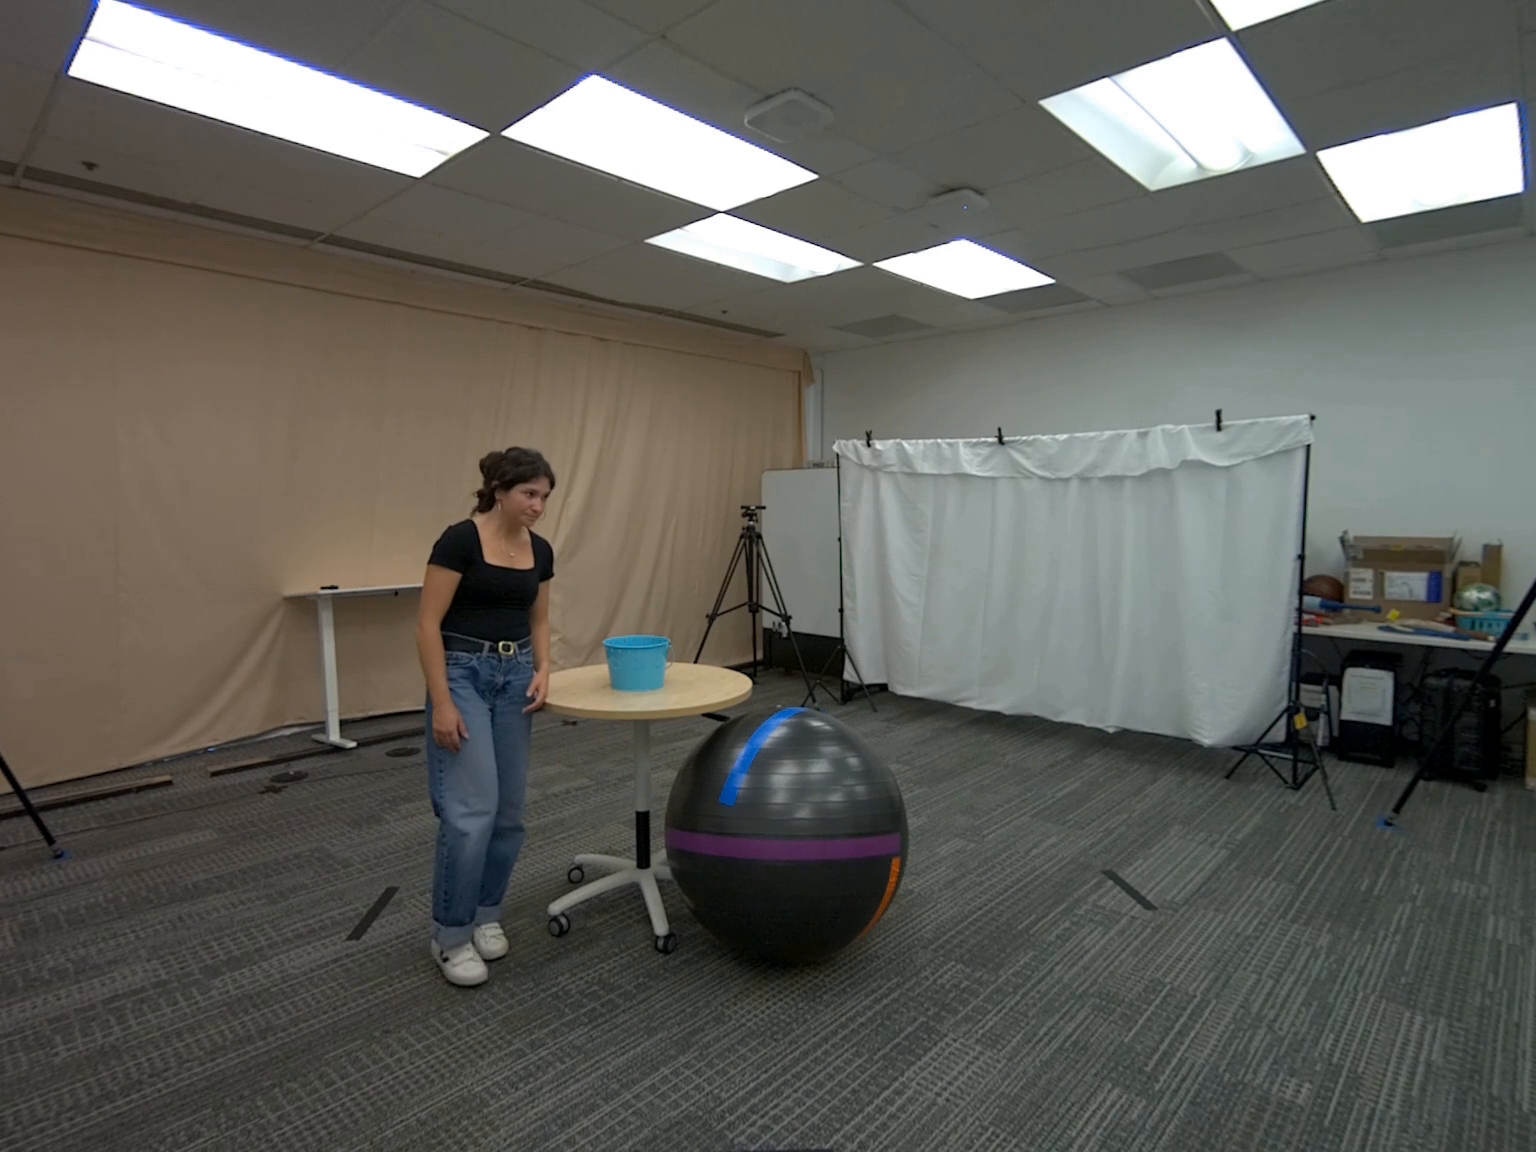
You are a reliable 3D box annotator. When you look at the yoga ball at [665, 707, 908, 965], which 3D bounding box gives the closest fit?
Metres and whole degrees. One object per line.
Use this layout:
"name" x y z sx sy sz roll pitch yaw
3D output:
"yoga ball" 0.059 0.806 2.651 0.757 0.756 0.760 0 4 -2
